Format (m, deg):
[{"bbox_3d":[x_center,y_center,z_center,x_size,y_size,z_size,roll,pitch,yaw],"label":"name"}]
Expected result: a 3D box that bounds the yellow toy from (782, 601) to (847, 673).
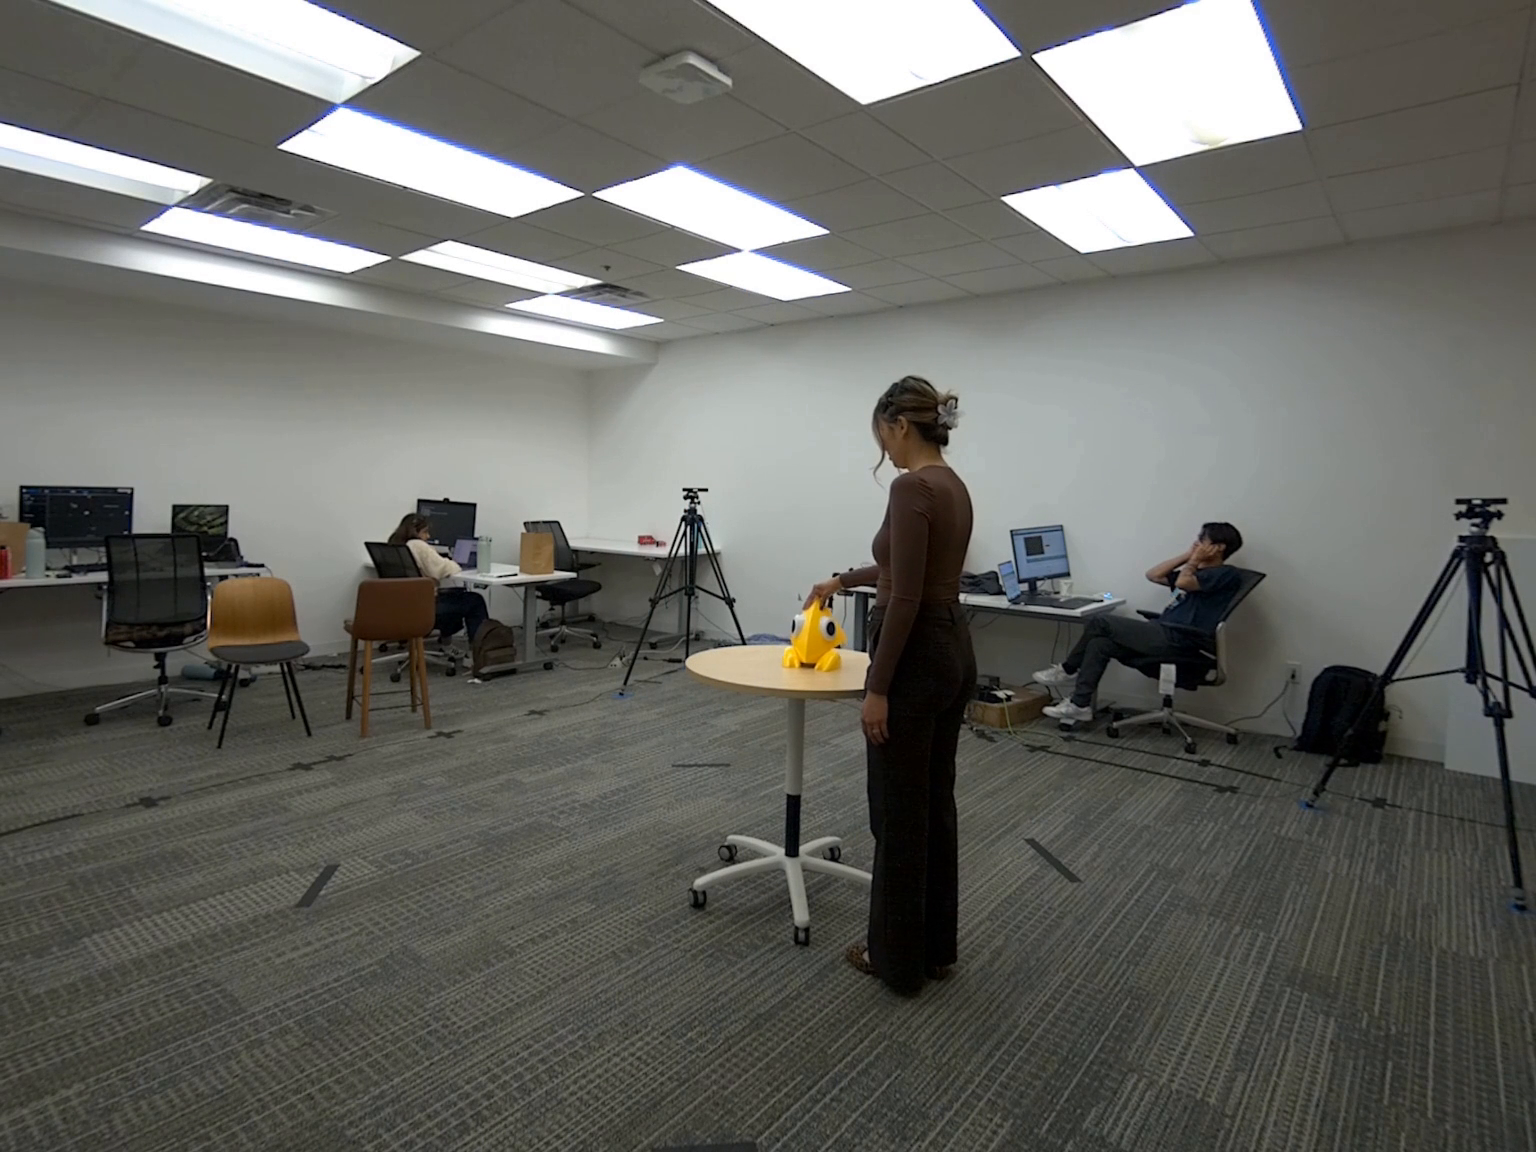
[{"bbox_3d":[0.146,0.187,2.891,0.209,0.230,0.190,2,4,17],"label":"yellow toy"}]
